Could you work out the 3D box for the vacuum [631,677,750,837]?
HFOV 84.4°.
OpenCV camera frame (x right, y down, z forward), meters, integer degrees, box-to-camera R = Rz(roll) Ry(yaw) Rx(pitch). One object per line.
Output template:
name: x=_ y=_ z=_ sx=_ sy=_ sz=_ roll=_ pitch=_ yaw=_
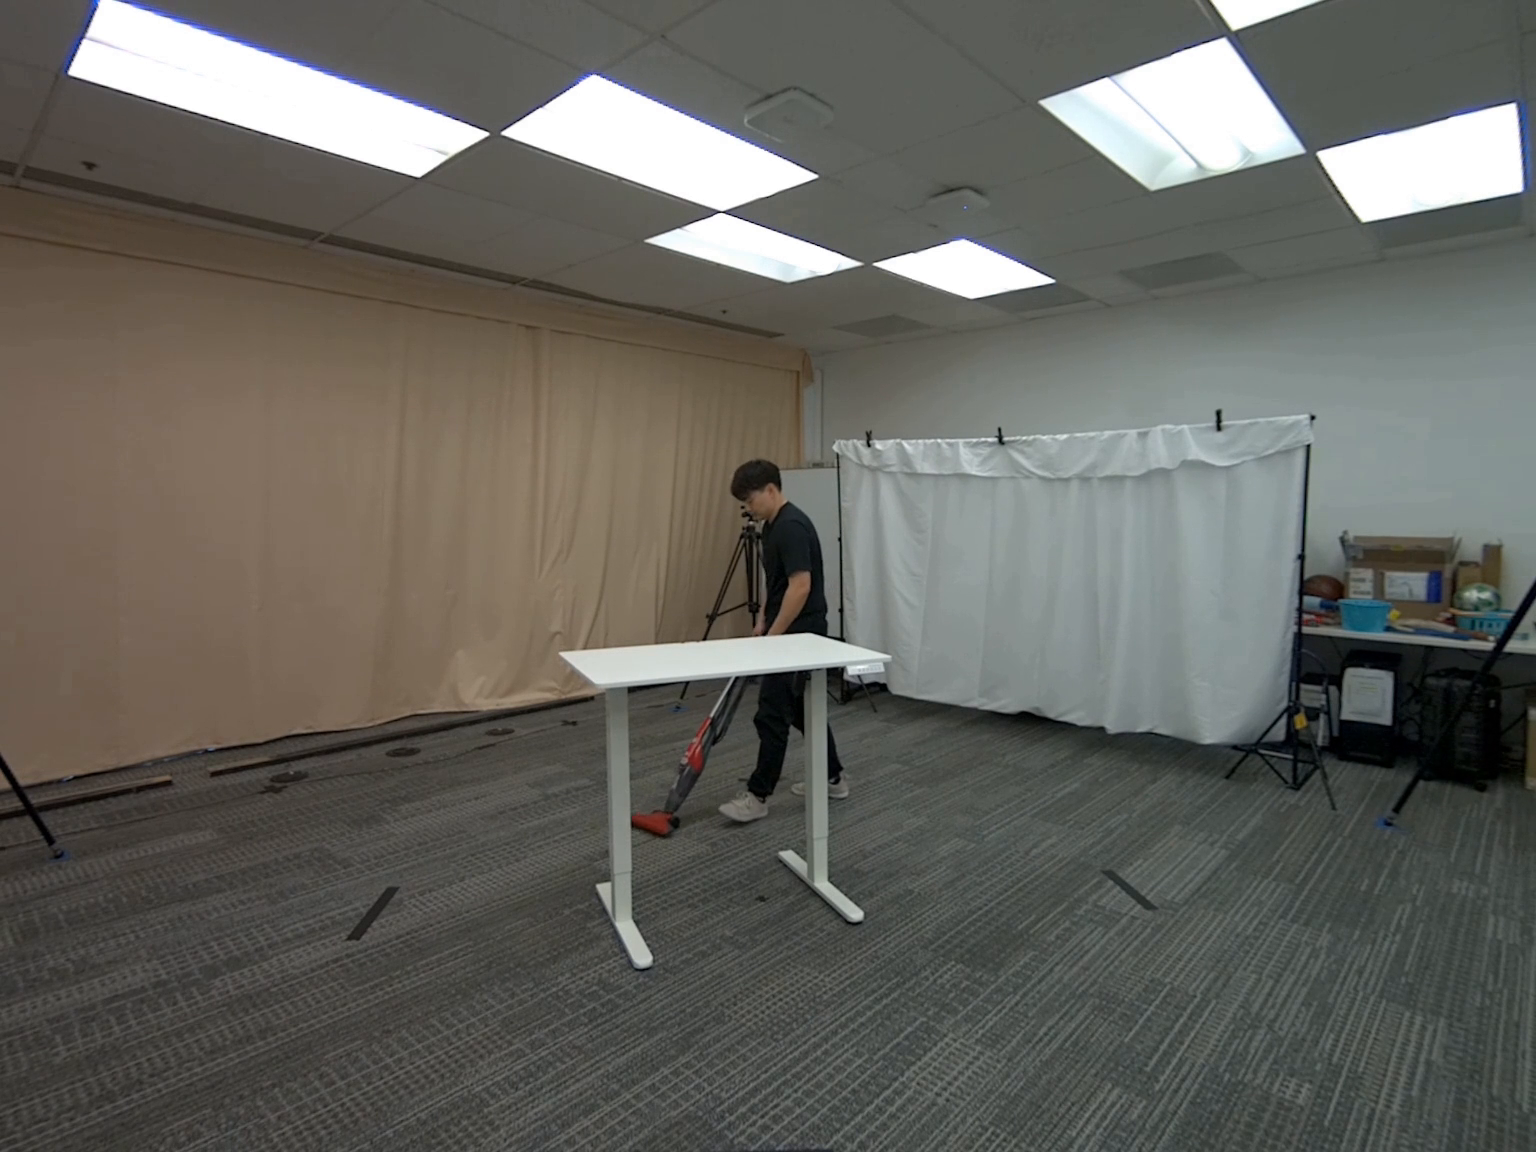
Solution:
vacuum: x=-0.254 y=0.687 z=3.887 sx=0.261 sy=1.048 sz=0.139 roll=1 pitch=-41 yaw=43
